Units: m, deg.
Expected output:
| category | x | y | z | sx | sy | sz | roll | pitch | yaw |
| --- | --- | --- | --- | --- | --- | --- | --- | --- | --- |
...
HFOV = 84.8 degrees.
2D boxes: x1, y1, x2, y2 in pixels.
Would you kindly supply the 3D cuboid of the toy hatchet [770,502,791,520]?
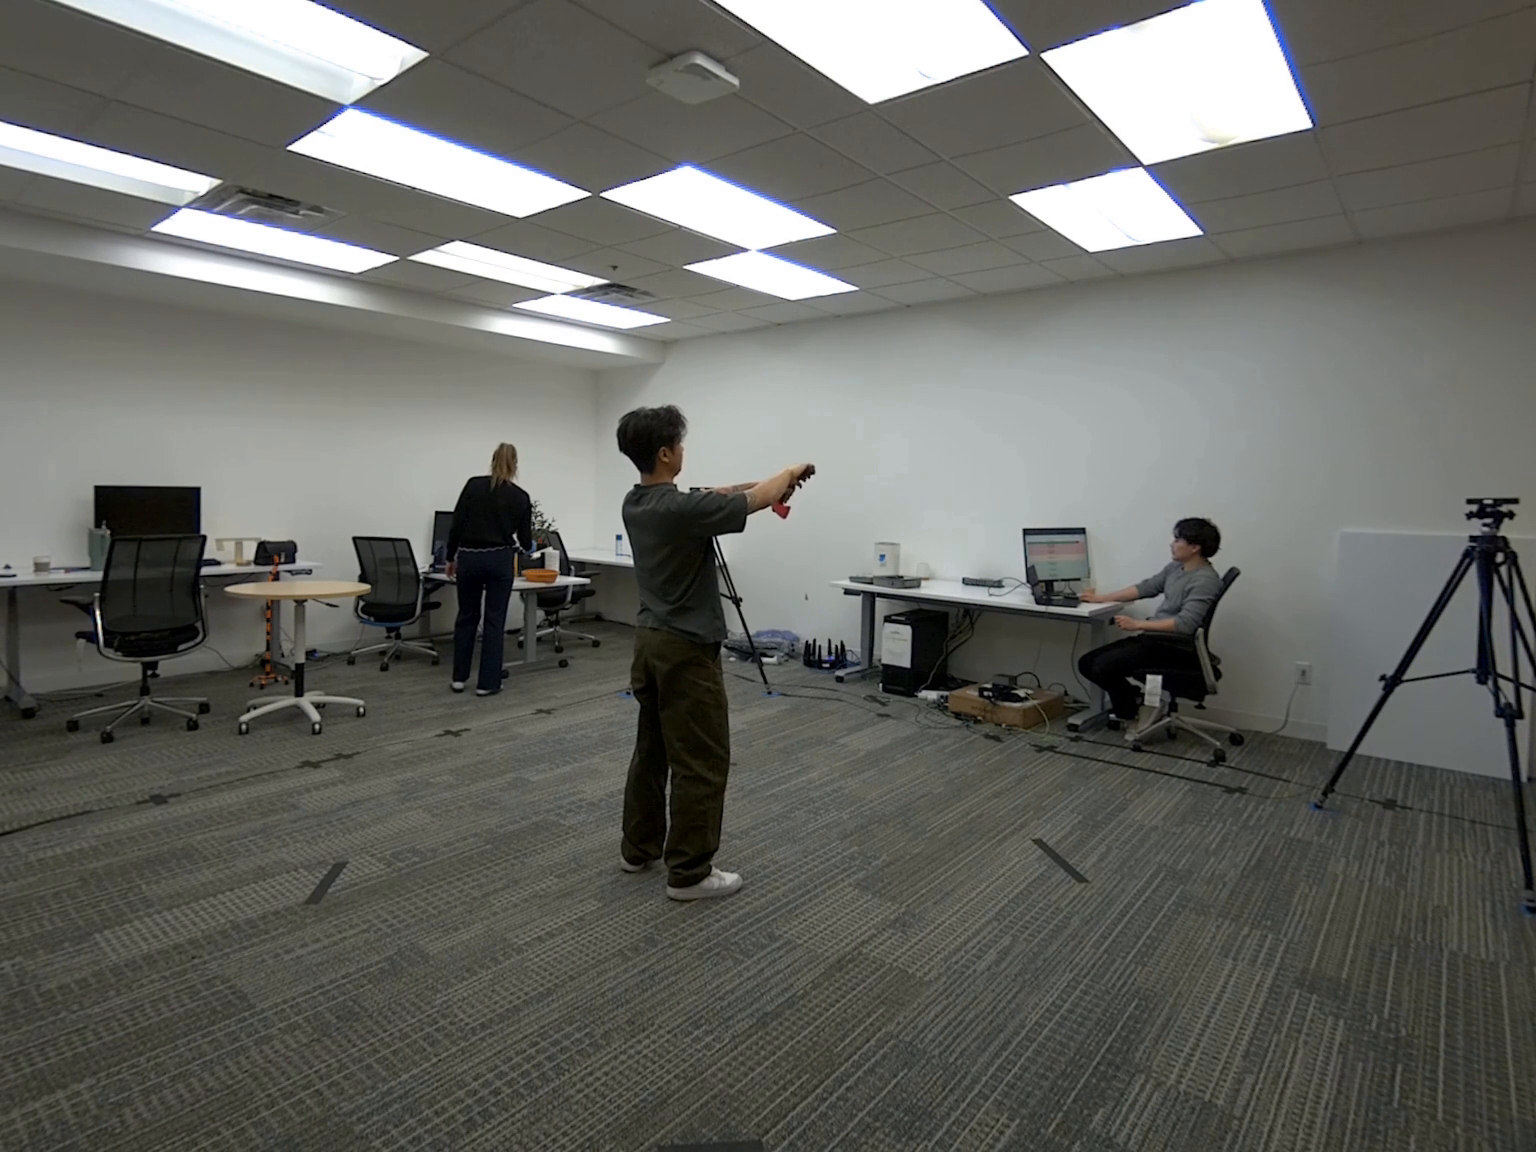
| category | x | y | z | sx | sy | sz | roll | pitch | yaw |
| --- | --- | --- | --- | --- | --- | --- | --- | --- | --- |
| toy hatchet | 0.080 | -0.308 | 3.217 | 0.029 | 0.133 | 0.272 | -3 | -17 | -32 |
